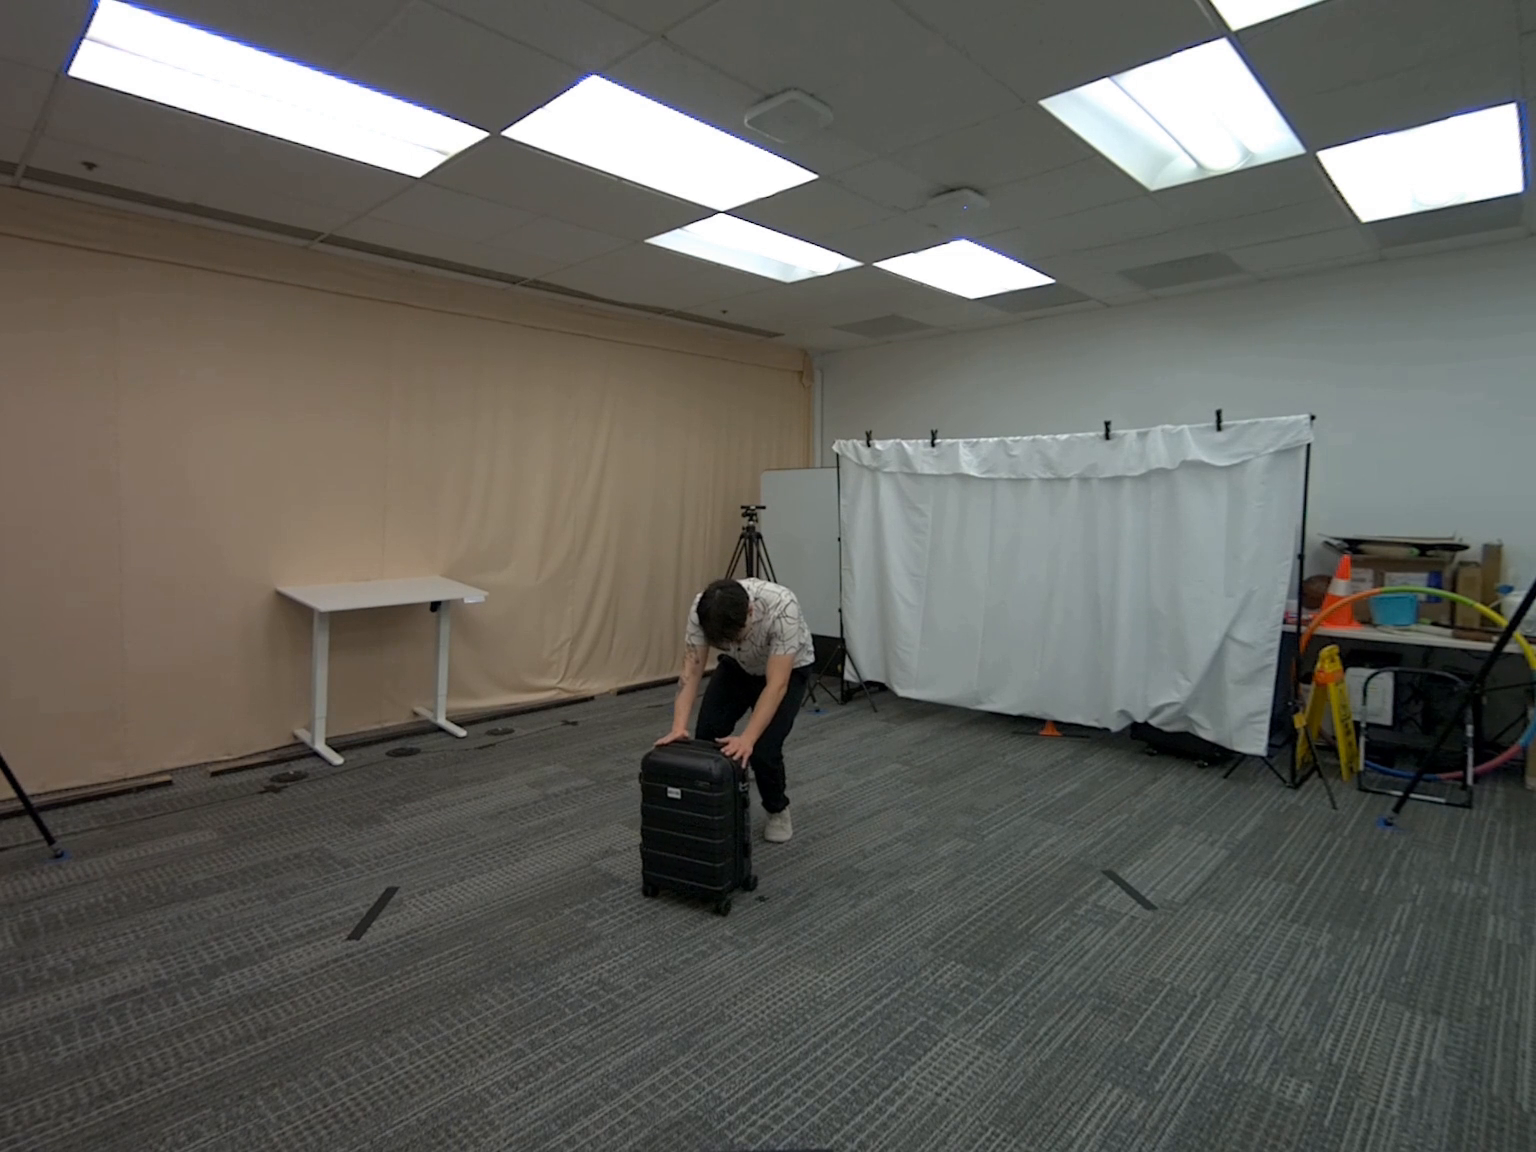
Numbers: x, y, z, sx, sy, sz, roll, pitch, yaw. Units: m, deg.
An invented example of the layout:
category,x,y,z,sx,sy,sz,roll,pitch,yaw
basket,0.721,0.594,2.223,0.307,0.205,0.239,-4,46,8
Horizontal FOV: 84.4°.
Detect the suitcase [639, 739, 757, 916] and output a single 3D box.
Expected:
category,x,y,z,sx,sy,sz,roll,pitch,yaw
suitcase,-0.257,0.867,2.997,0.386,0.547,0.242,2,6,29
